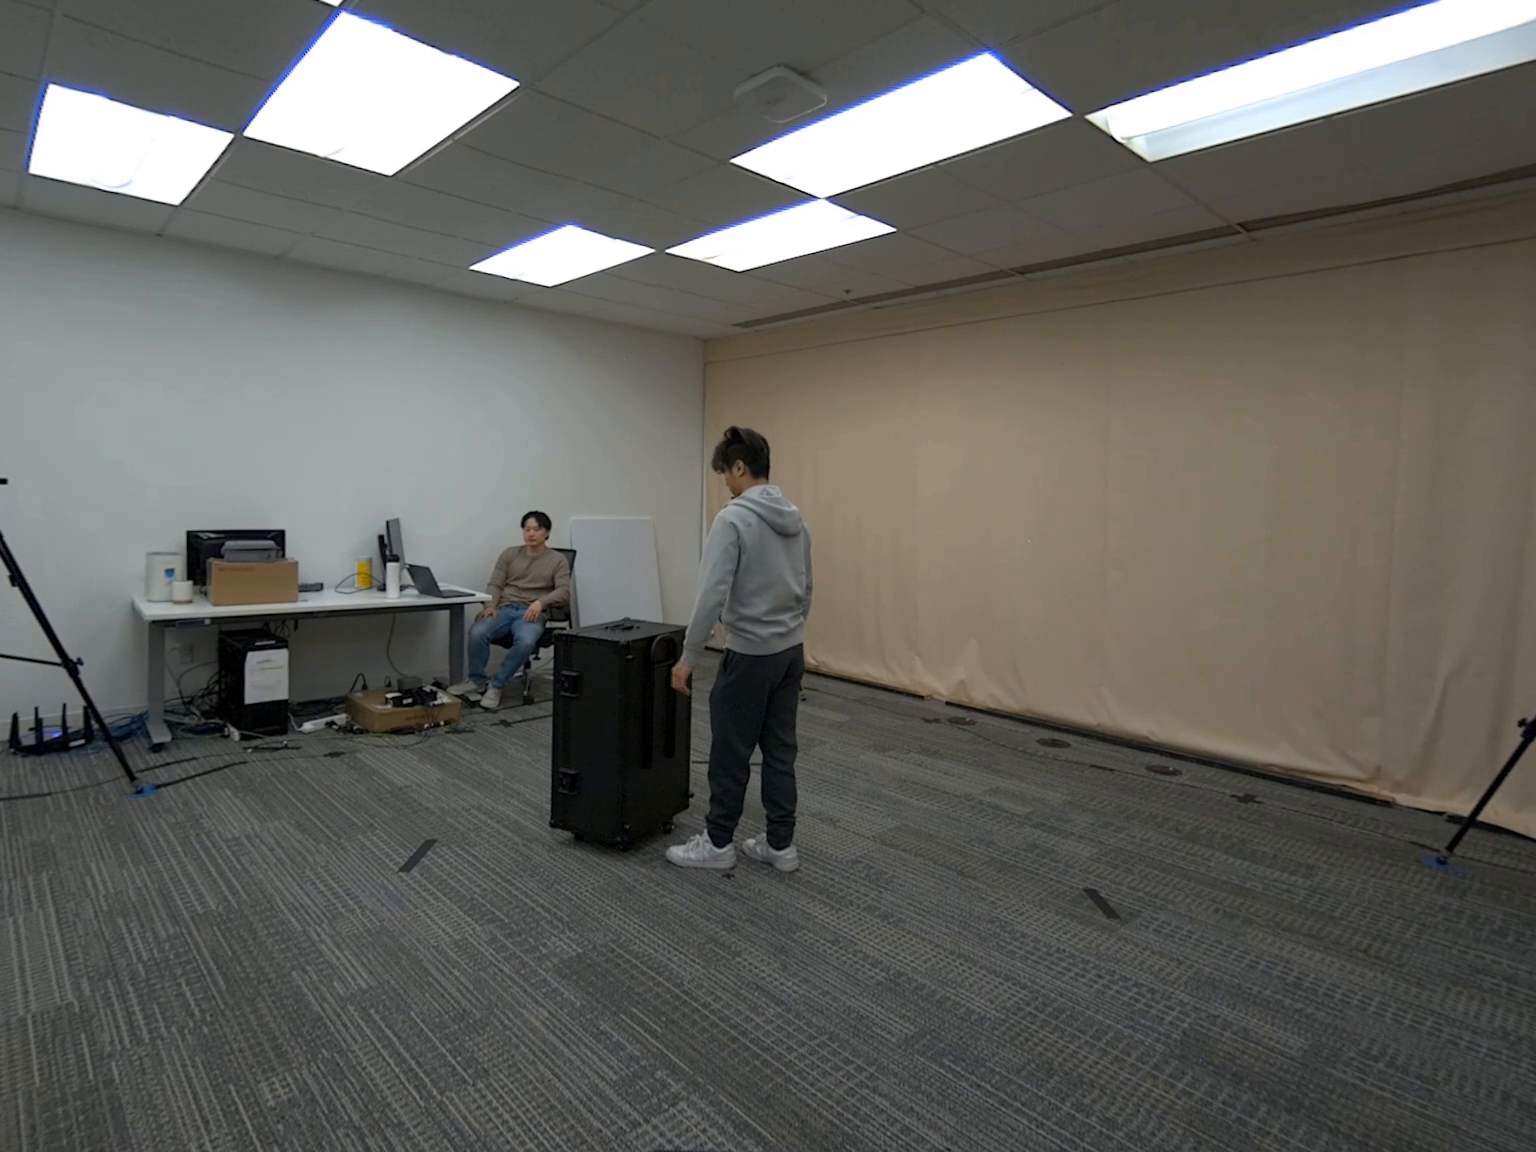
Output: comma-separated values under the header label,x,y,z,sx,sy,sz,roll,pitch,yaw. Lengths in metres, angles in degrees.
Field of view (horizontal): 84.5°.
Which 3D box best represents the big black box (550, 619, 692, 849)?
label,x,y,z,sx,sy,sz,roll,pitch,yaw
big black box,-0.586,0.640,3.454,0.405,0.859,0.511,5,5,28
